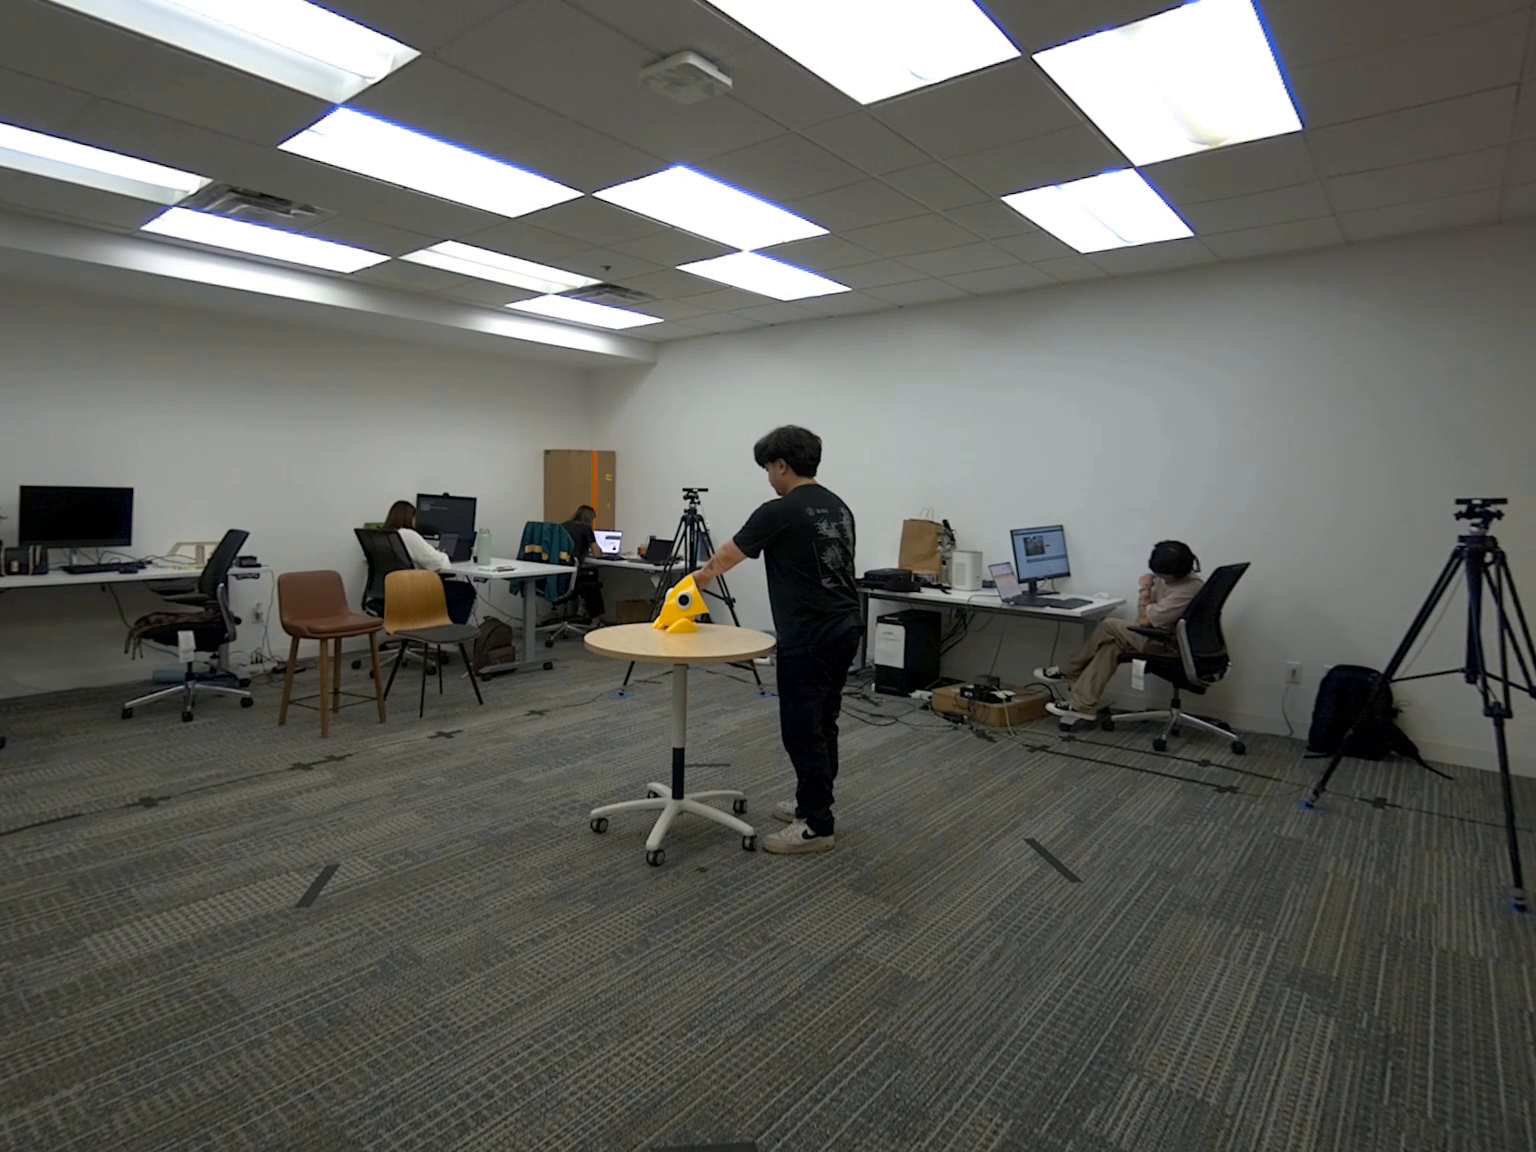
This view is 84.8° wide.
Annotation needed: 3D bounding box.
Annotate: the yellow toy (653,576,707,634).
[{"bbox_3d":[-0.393,0.106,3.625,0.187,0.230,0.211,-2,5,-34],"label":"yellow toy"}]
